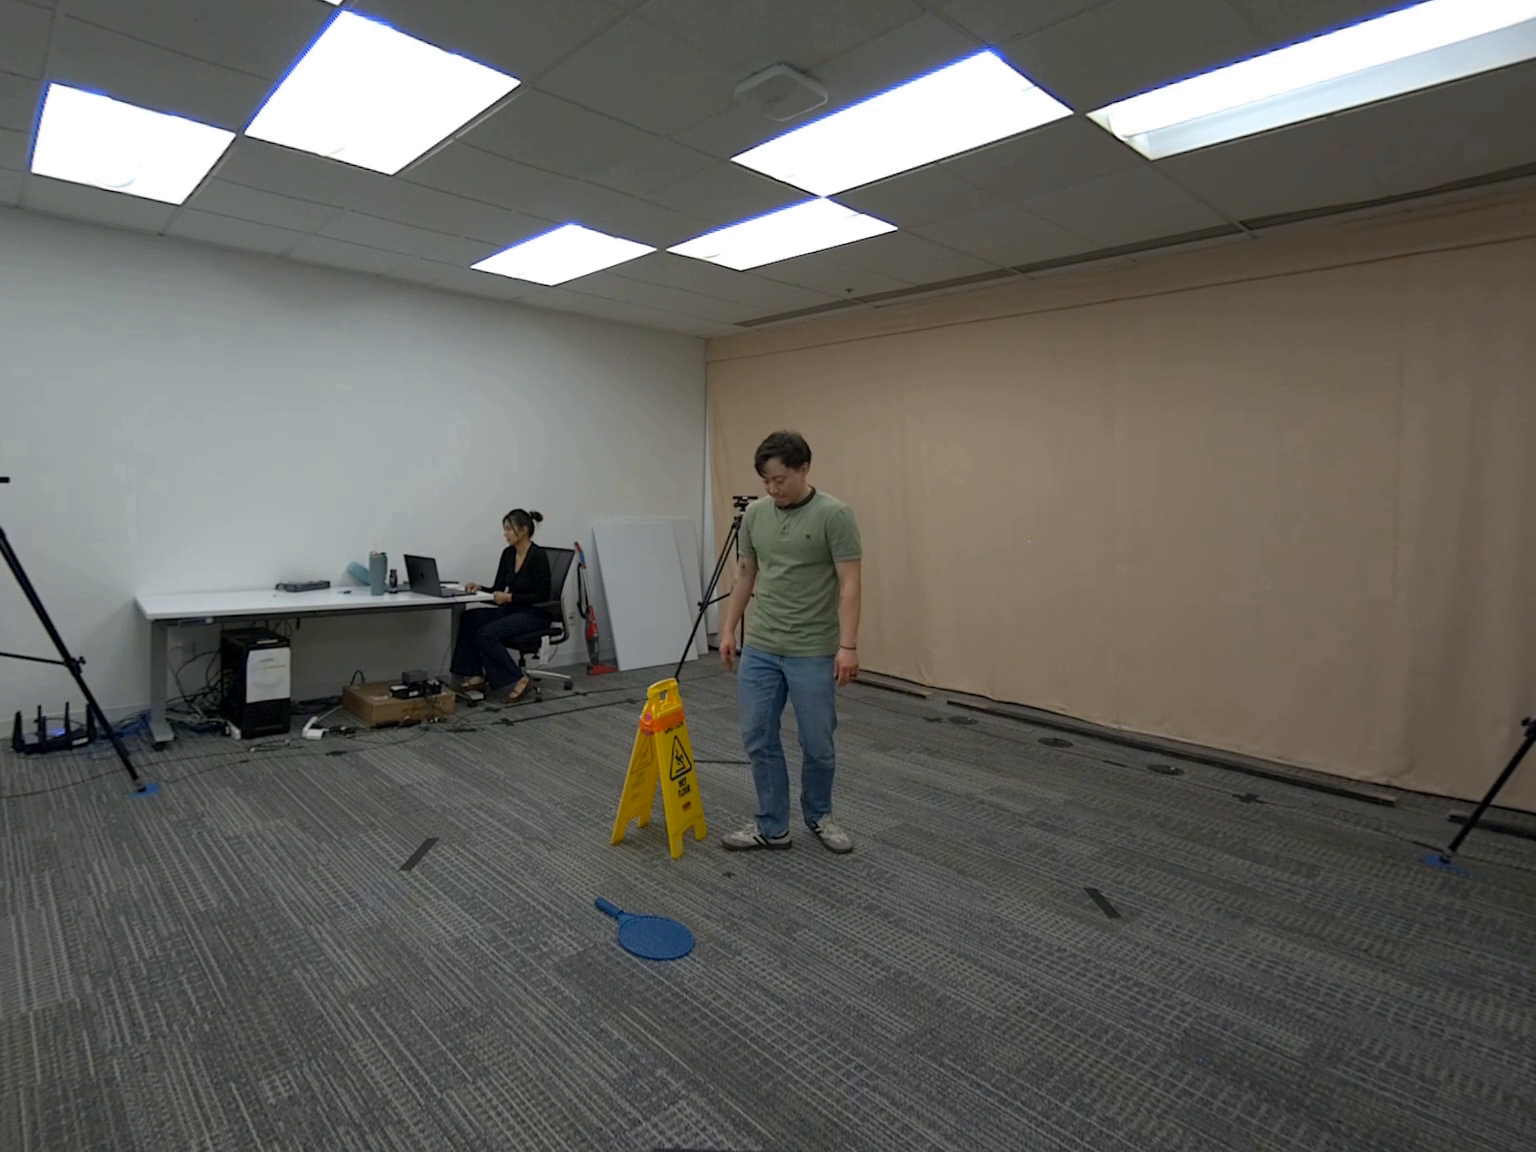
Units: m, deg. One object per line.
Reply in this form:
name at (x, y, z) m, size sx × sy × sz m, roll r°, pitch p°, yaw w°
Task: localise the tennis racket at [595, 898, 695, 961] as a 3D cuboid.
tennis racket at (-0.417, 1.125, 2.689) m, size 0.444 × 0.031 × 0.209 m, roll 8°, pitch 8°, yaw 44°
